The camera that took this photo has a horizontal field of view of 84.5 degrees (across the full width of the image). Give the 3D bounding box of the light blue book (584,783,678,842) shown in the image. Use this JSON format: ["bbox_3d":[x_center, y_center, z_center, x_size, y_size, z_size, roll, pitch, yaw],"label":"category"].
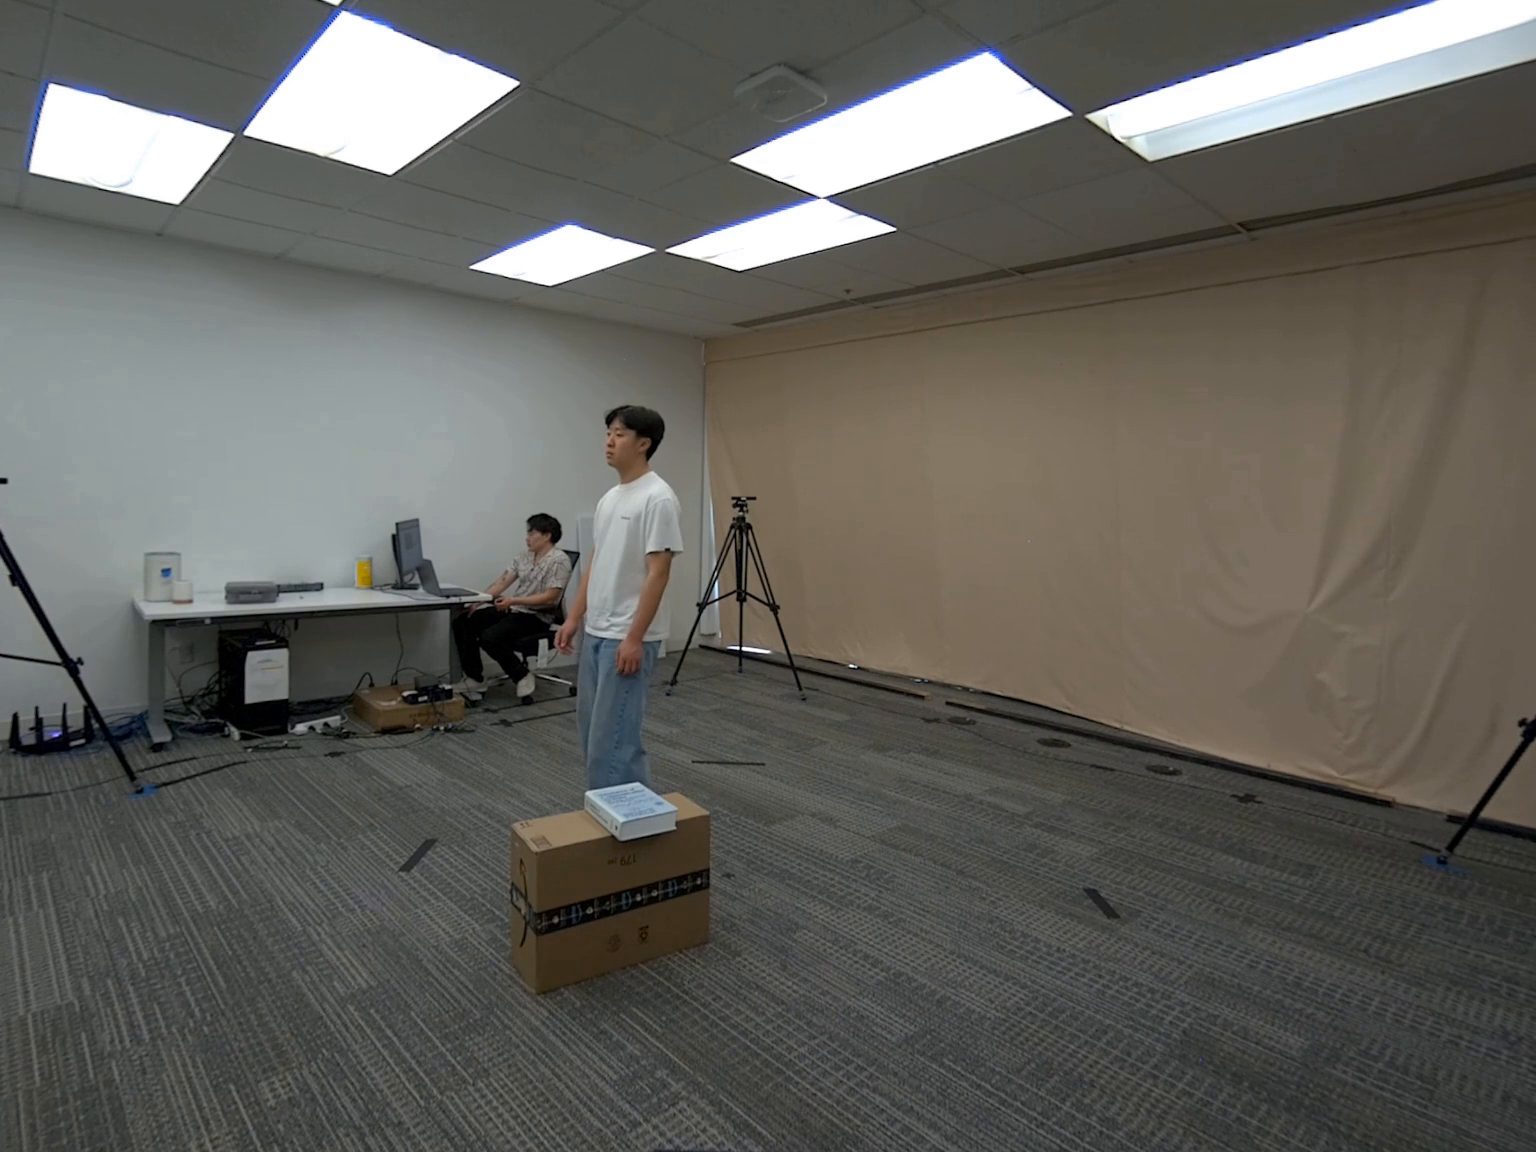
[{"bbox_3d":[-0.424,0.711,2.530,0.187,0.059,0.267,-1,7,-34],"label":"light blue book"}]
